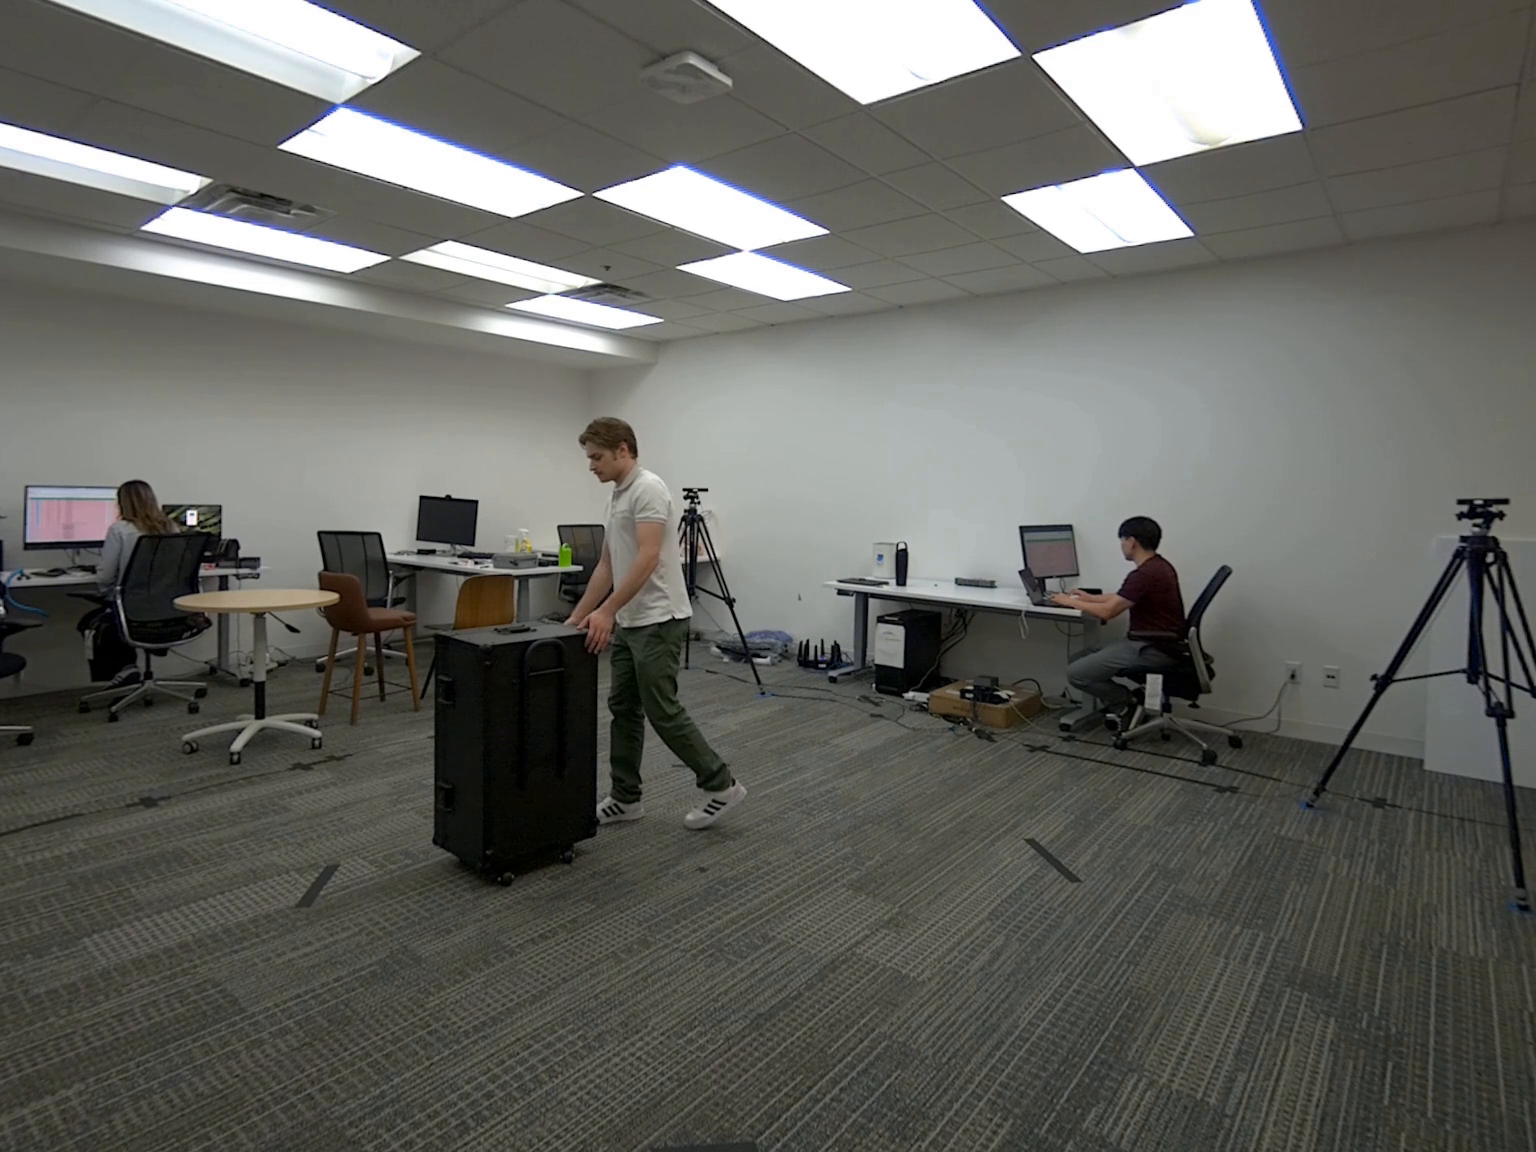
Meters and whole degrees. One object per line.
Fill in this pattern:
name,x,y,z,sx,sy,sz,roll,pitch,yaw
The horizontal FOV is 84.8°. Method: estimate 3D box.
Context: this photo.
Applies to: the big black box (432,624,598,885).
big black box,-0.940,0.635,3.152,0.398,0.866,0.507,4,5,43
